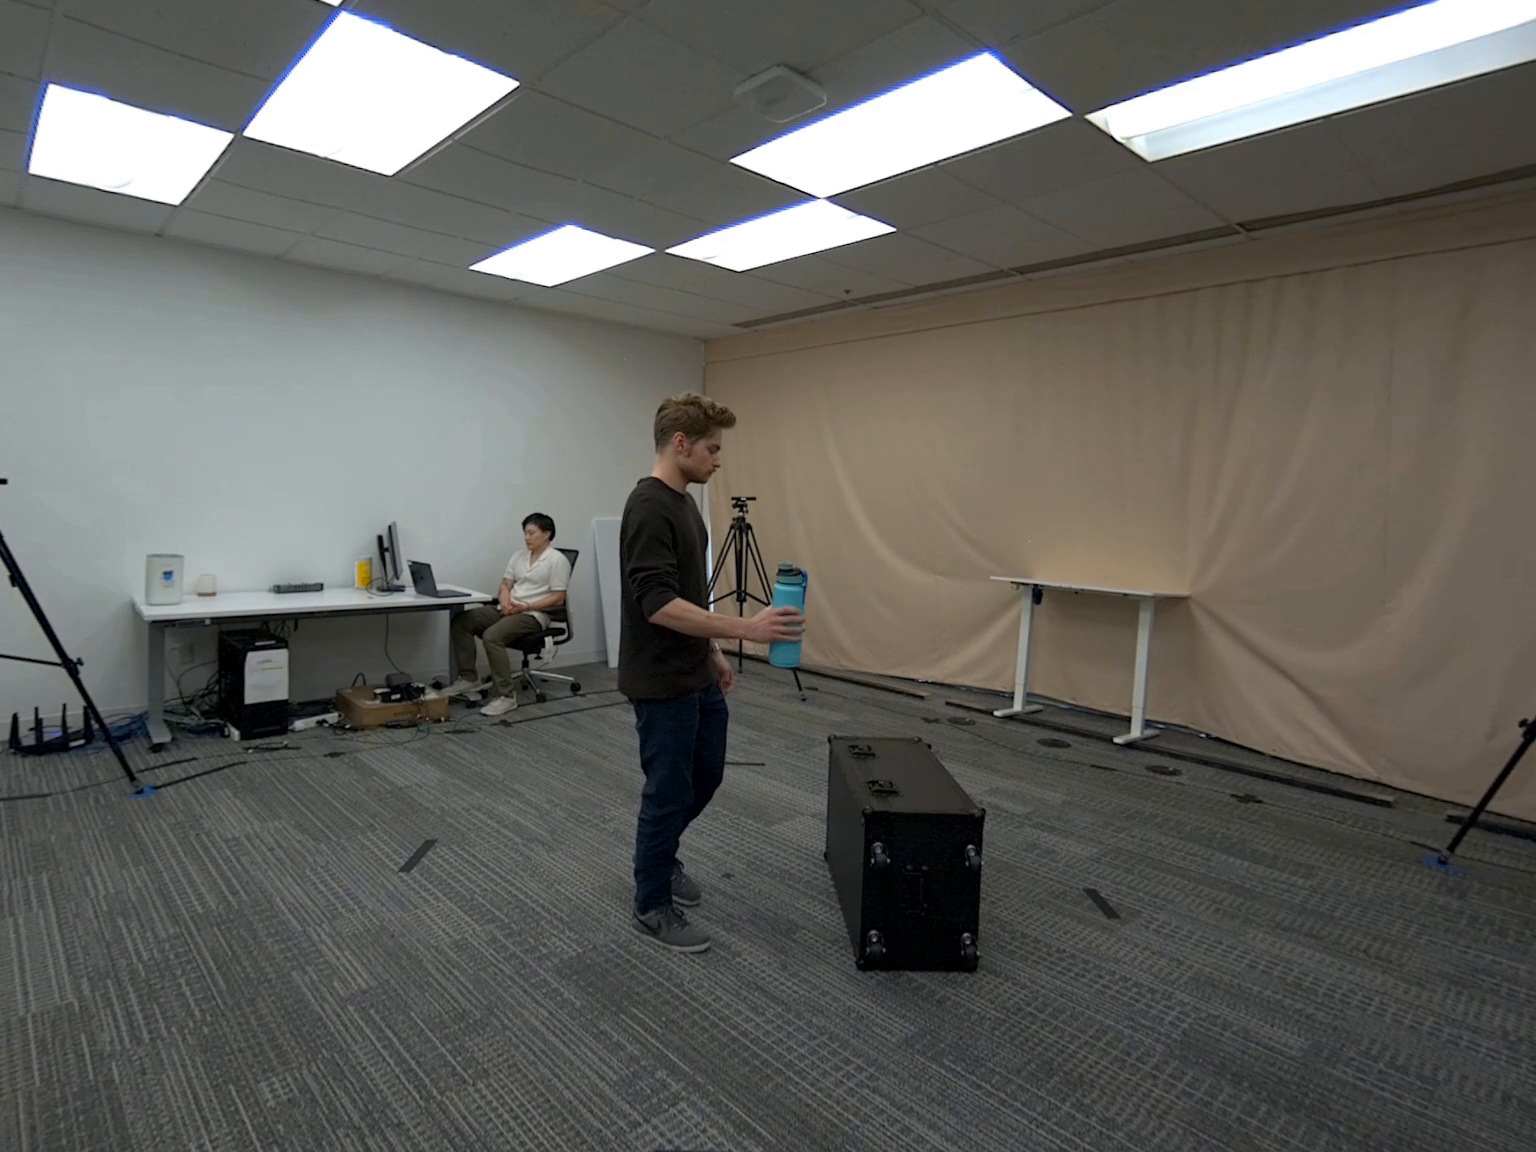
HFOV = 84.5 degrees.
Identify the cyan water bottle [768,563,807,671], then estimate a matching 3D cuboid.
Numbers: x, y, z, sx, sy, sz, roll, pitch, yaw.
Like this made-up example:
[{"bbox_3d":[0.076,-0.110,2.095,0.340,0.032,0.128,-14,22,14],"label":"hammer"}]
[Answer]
[{"bbox_3d":[0.038,0.104,2.317,0.092,0.282,0.093,6,8,-2],"label":"cyan water bottle"}]
